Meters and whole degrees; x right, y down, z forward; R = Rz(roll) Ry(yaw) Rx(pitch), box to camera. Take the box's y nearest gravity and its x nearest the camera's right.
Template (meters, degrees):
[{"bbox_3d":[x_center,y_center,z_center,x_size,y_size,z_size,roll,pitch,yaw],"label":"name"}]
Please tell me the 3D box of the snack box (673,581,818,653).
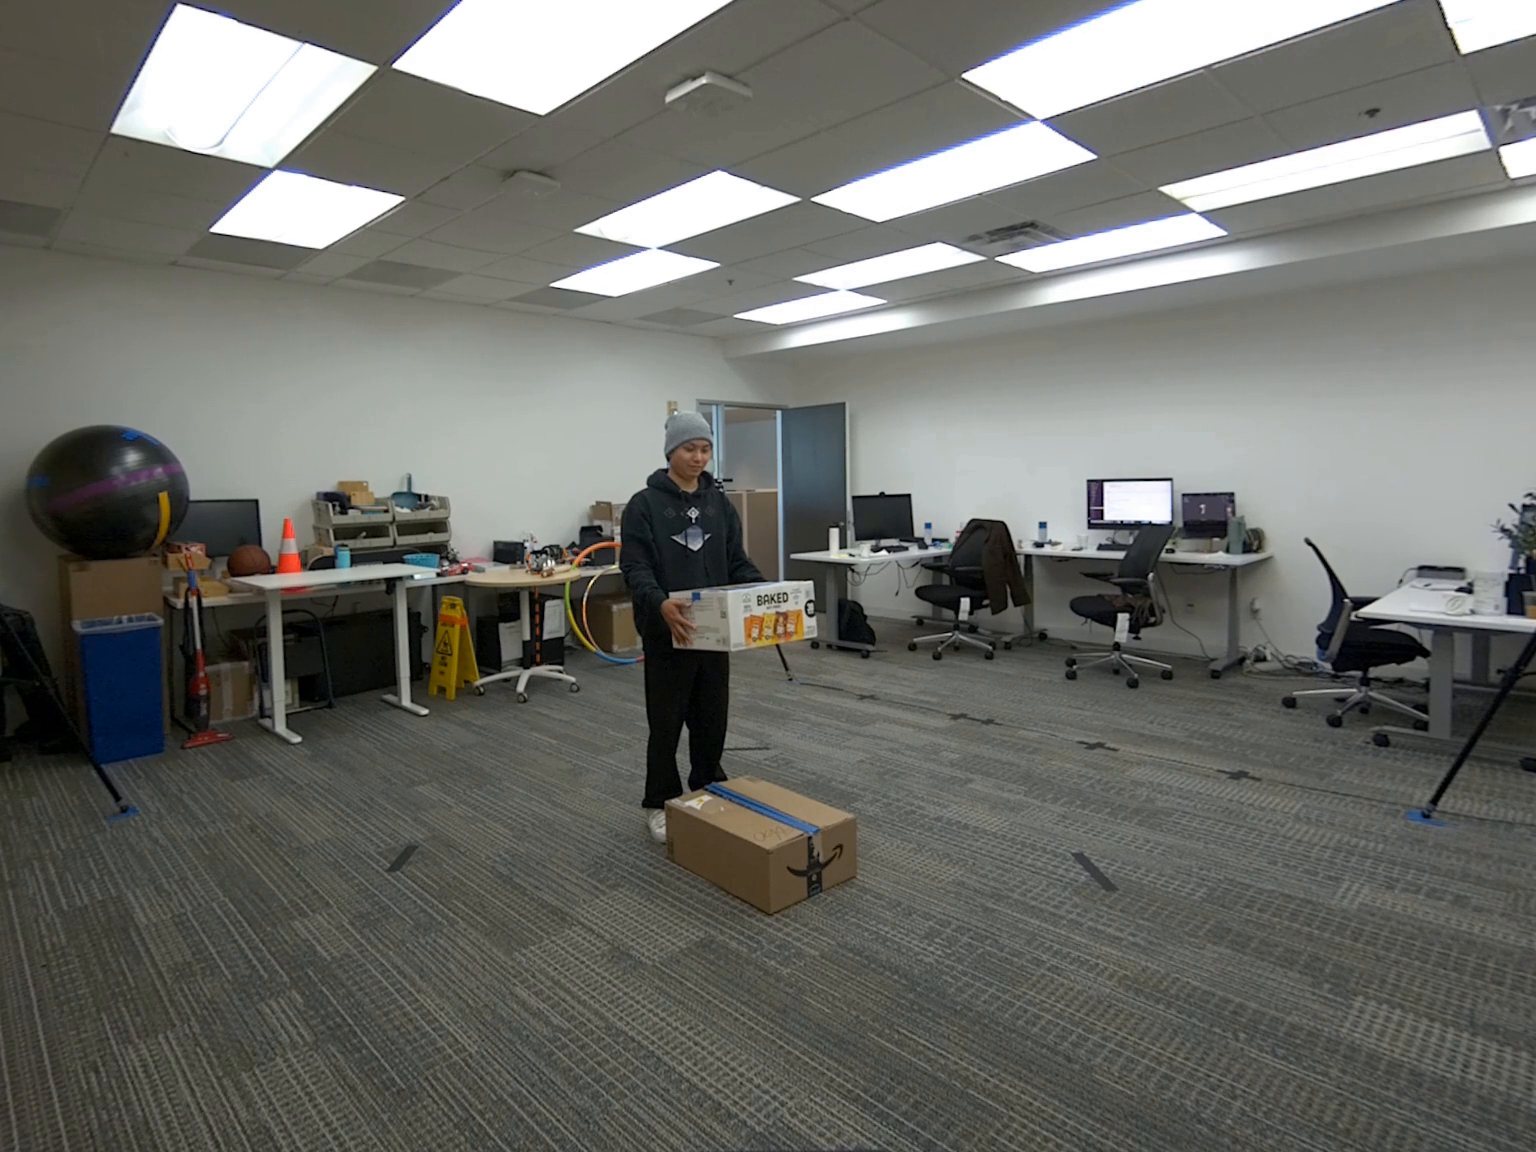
[{"bbox_3d":[-0.087,0.140,3.080,0.394,0.206,0.349,-5,1,-40],"label":"snack box"}]
